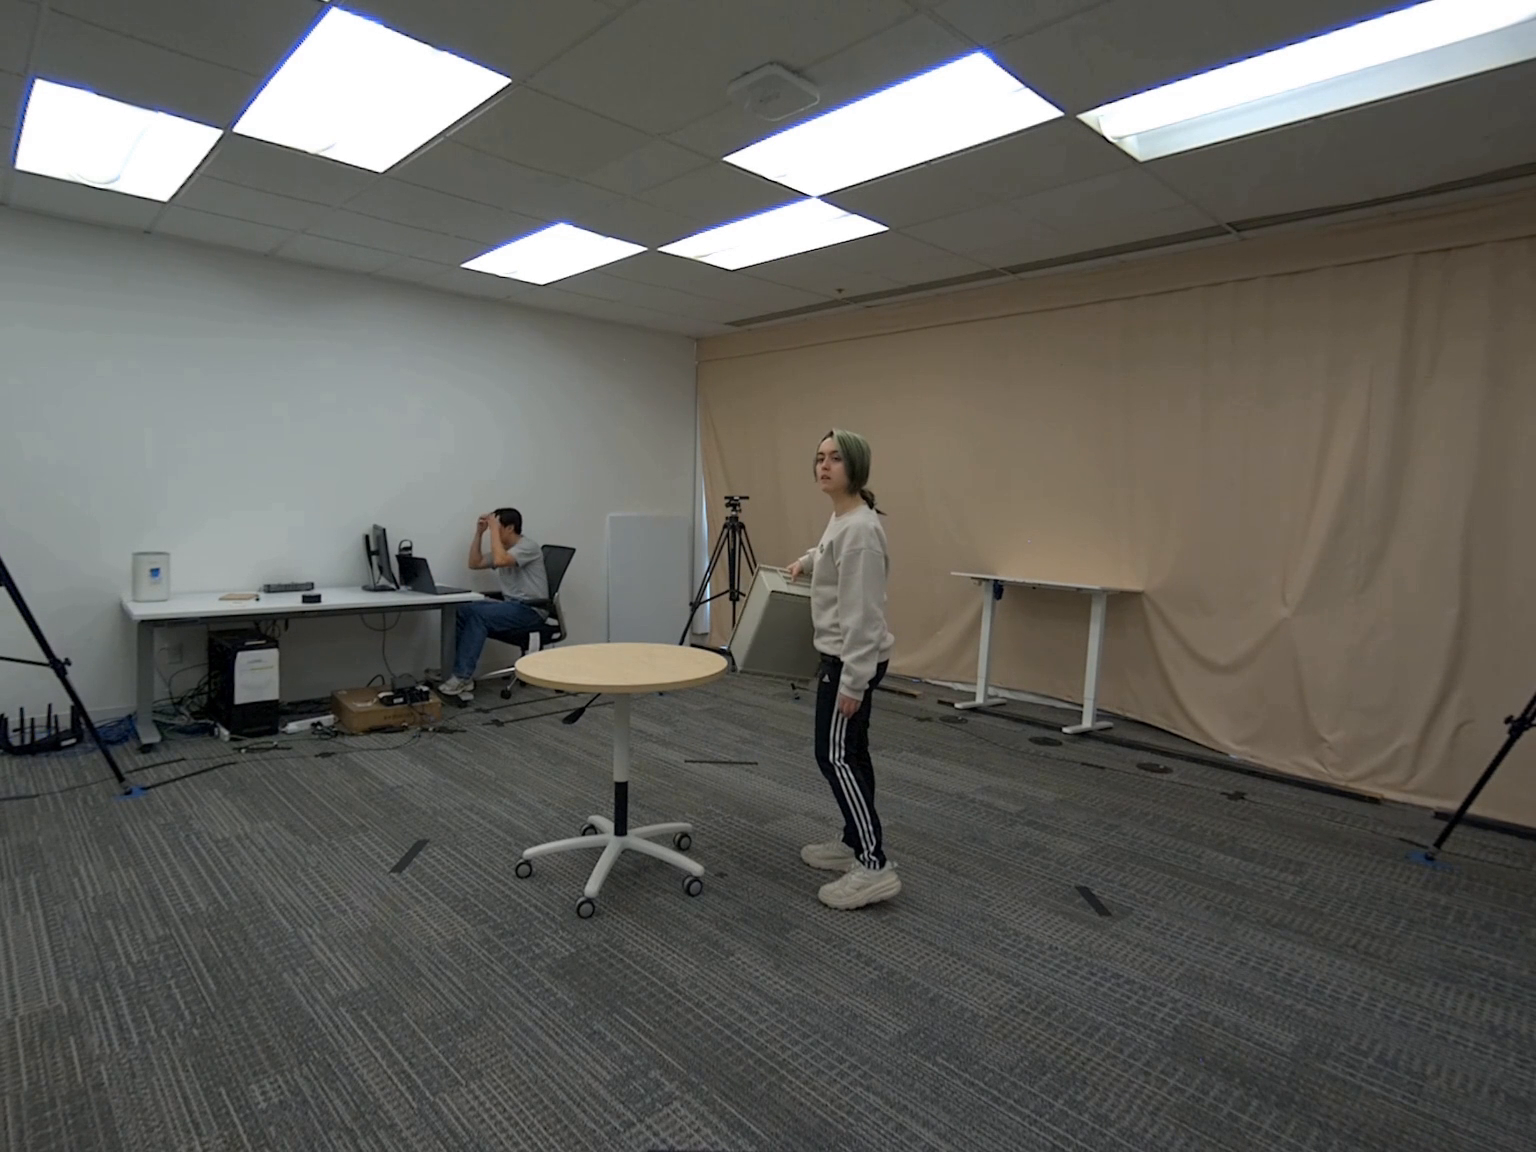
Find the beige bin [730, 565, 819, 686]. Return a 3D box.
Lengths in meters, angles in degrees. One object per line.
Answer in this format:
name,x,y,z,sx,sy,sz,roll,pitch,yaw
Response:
beige bin,0.084,0.206,3.405,0.370,0.418,0.194,10,27,-21
